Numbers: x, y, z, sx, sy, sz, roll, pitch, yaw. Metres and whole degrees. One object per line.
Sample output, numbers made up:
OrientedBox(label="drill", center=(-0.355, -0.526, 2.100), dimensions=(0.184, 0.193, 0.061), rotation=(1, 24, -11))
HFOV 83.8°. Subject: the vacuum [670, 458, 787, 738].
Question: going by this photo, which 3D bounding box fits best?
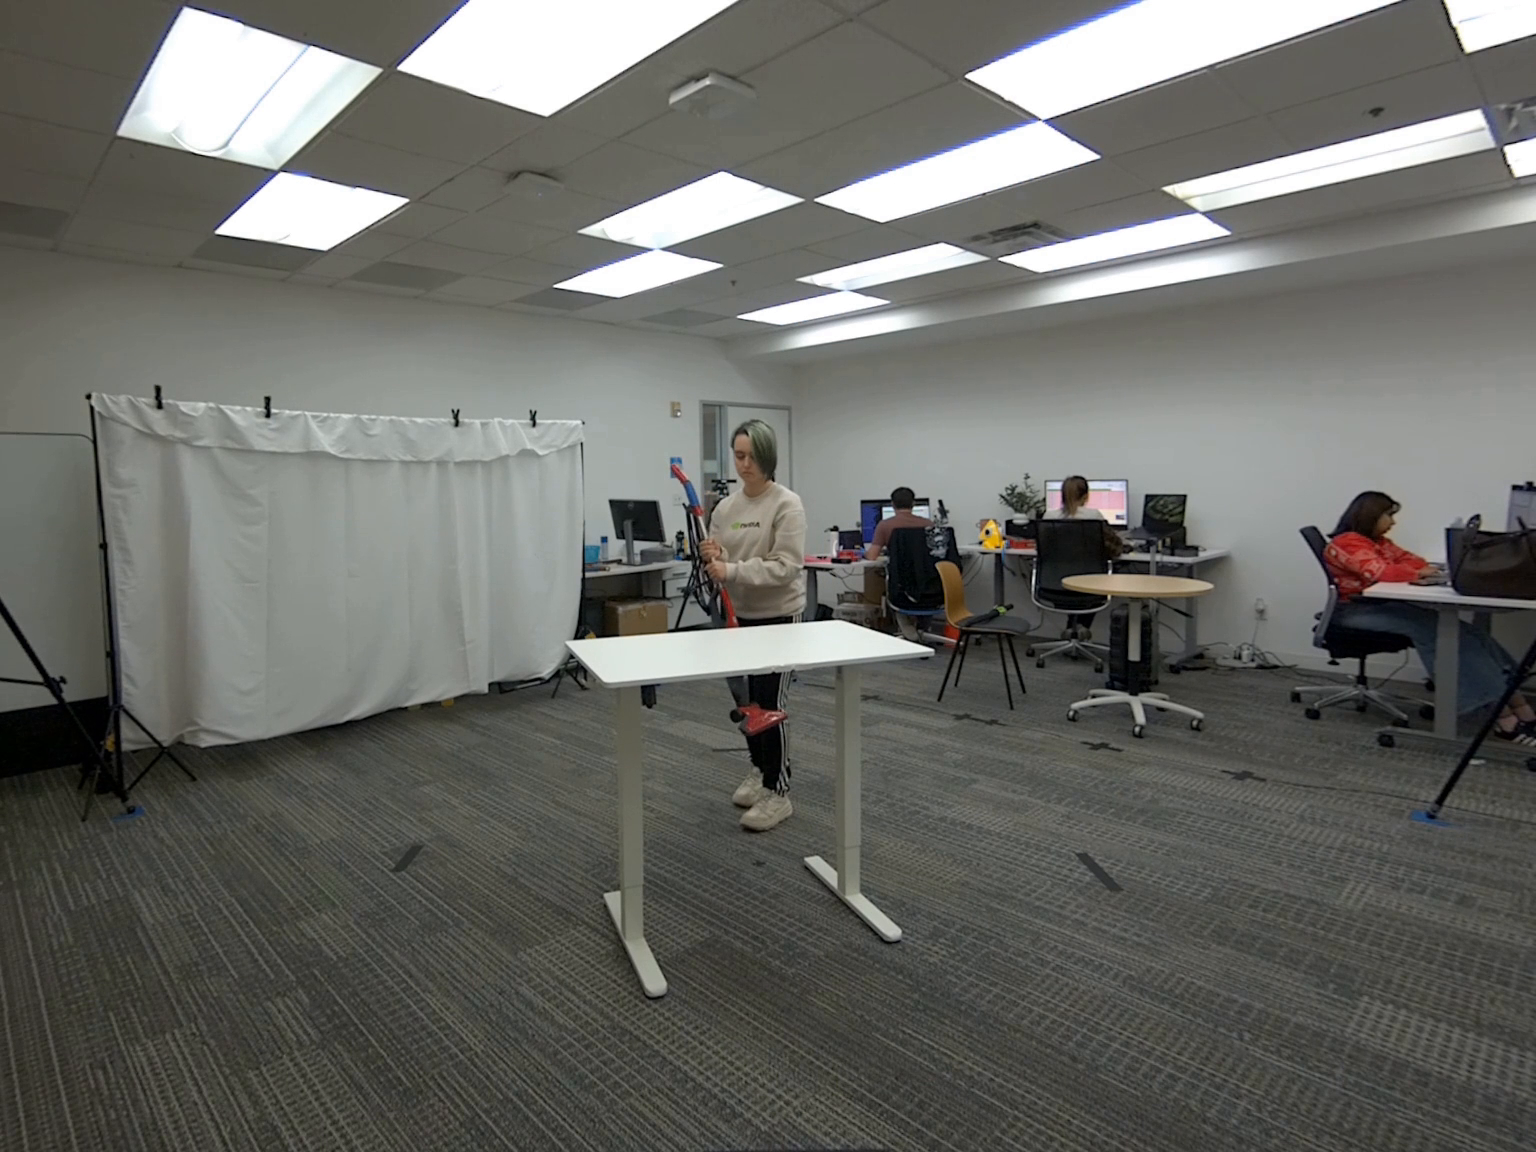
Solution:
OrientedBox(label="vacuum", center=(-0.218, 0.069, 3.372), dimensions=(0.146, 1.058, 0.247), rotation=(-24, -8, 38))
